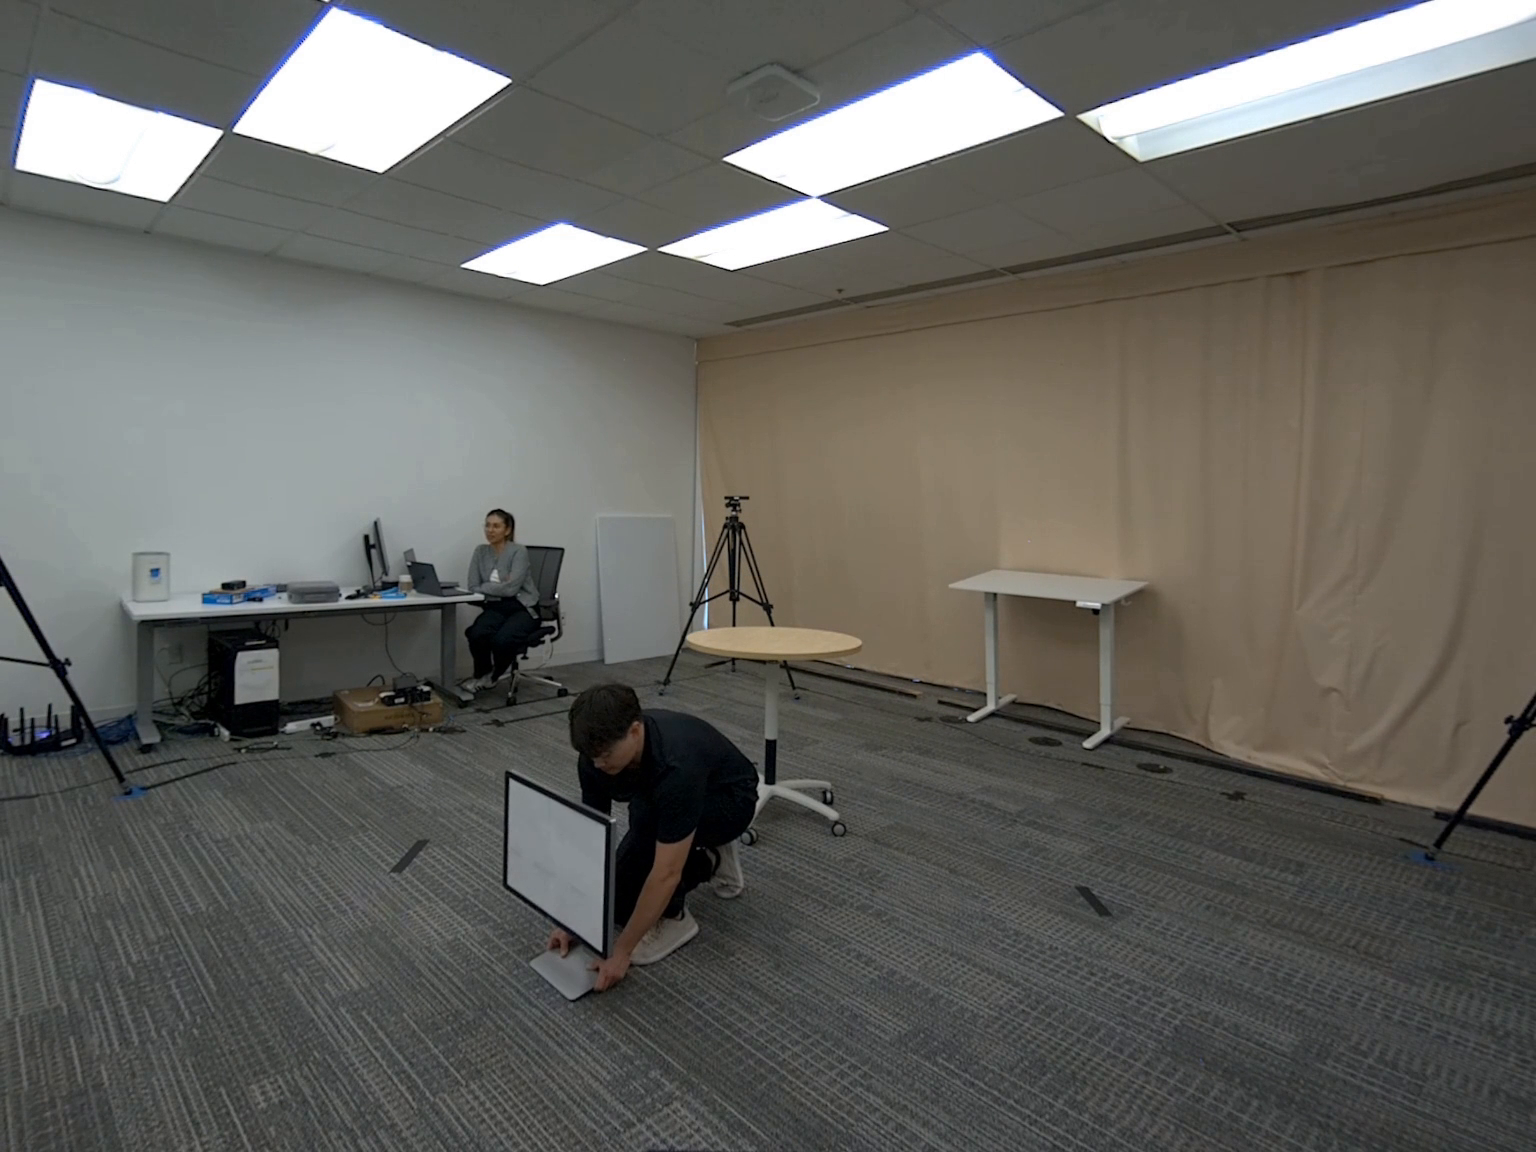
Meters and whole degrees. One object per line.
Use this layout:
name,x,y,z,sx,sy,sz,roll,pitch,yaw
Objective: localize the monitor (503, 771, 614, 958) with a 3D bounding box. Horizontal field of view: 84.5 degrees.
monitor,-0.583,0.881,2.406,0.184,0.518,0.553,-14,13,-43
